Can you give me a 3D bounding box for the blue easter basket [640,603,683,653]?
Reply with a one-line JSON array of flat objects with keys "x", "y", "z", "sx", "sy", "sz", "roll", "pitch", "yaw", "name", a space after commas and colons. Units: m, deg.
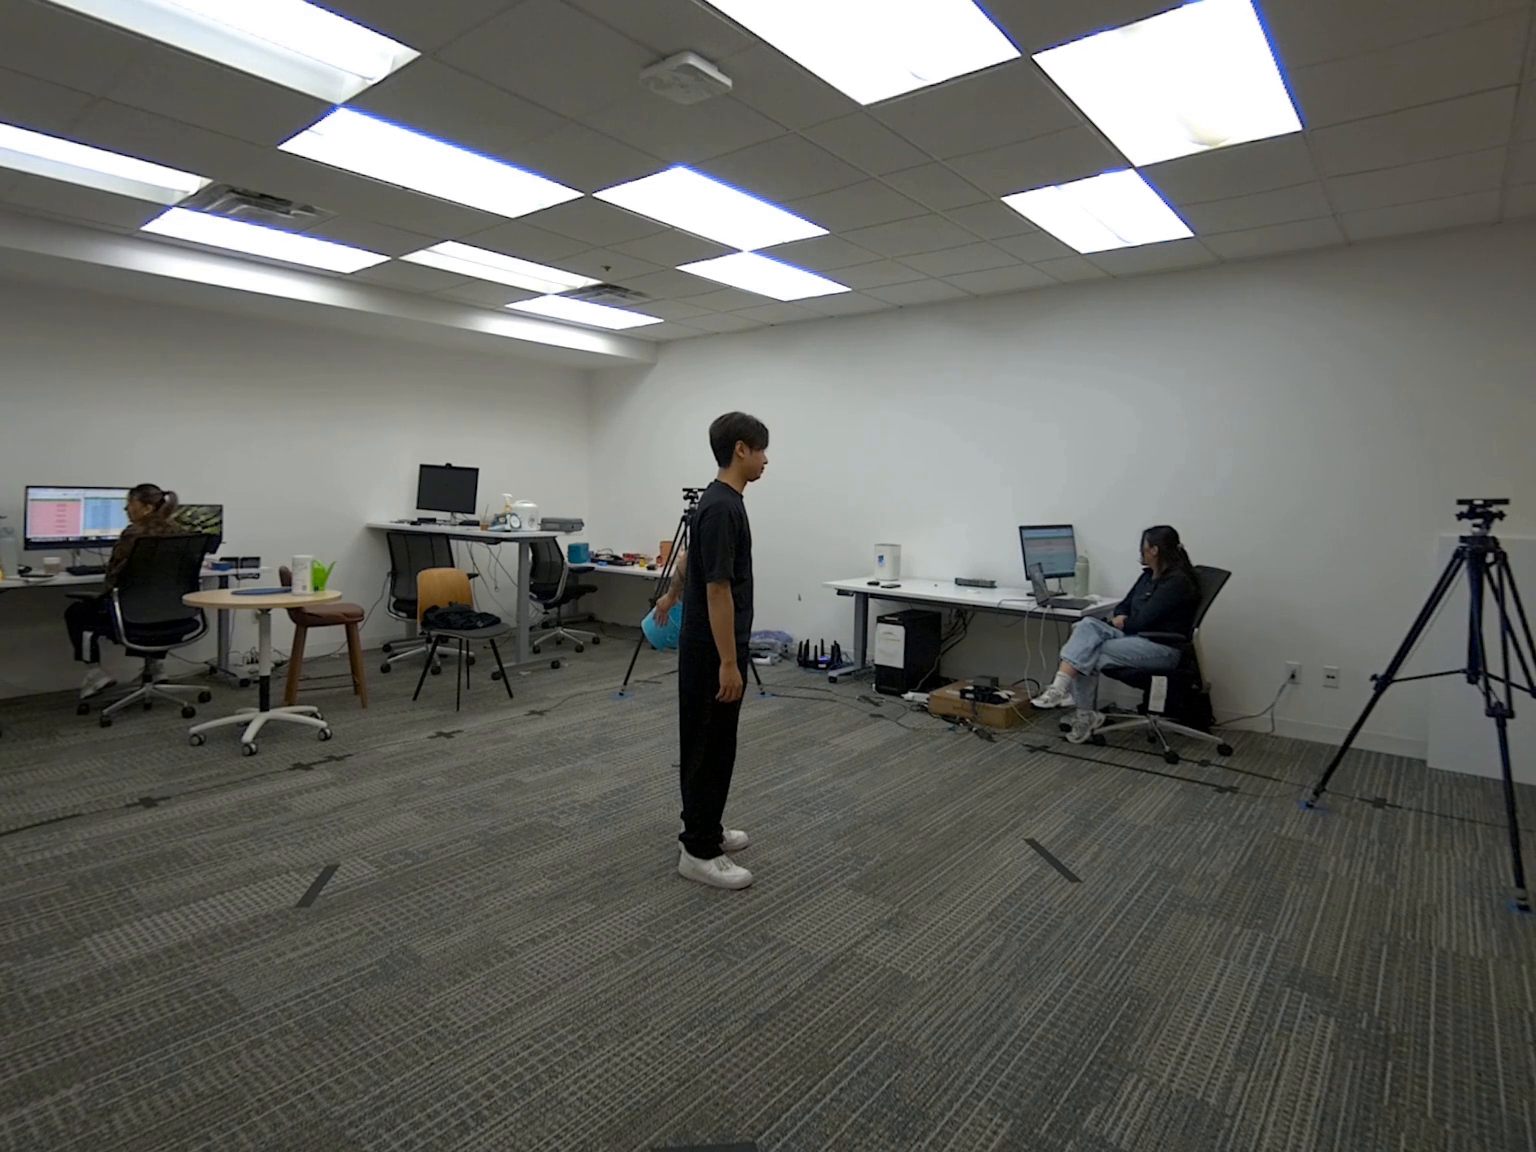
[{"x": -0.436, "y": 0.228, "z": 3.726, "sx": 0.156, "sy": 0.246, "sz": 0.240, "roll": -38, "pitch": -7, "yaw": 14, "name": "blue easter basket"}]
